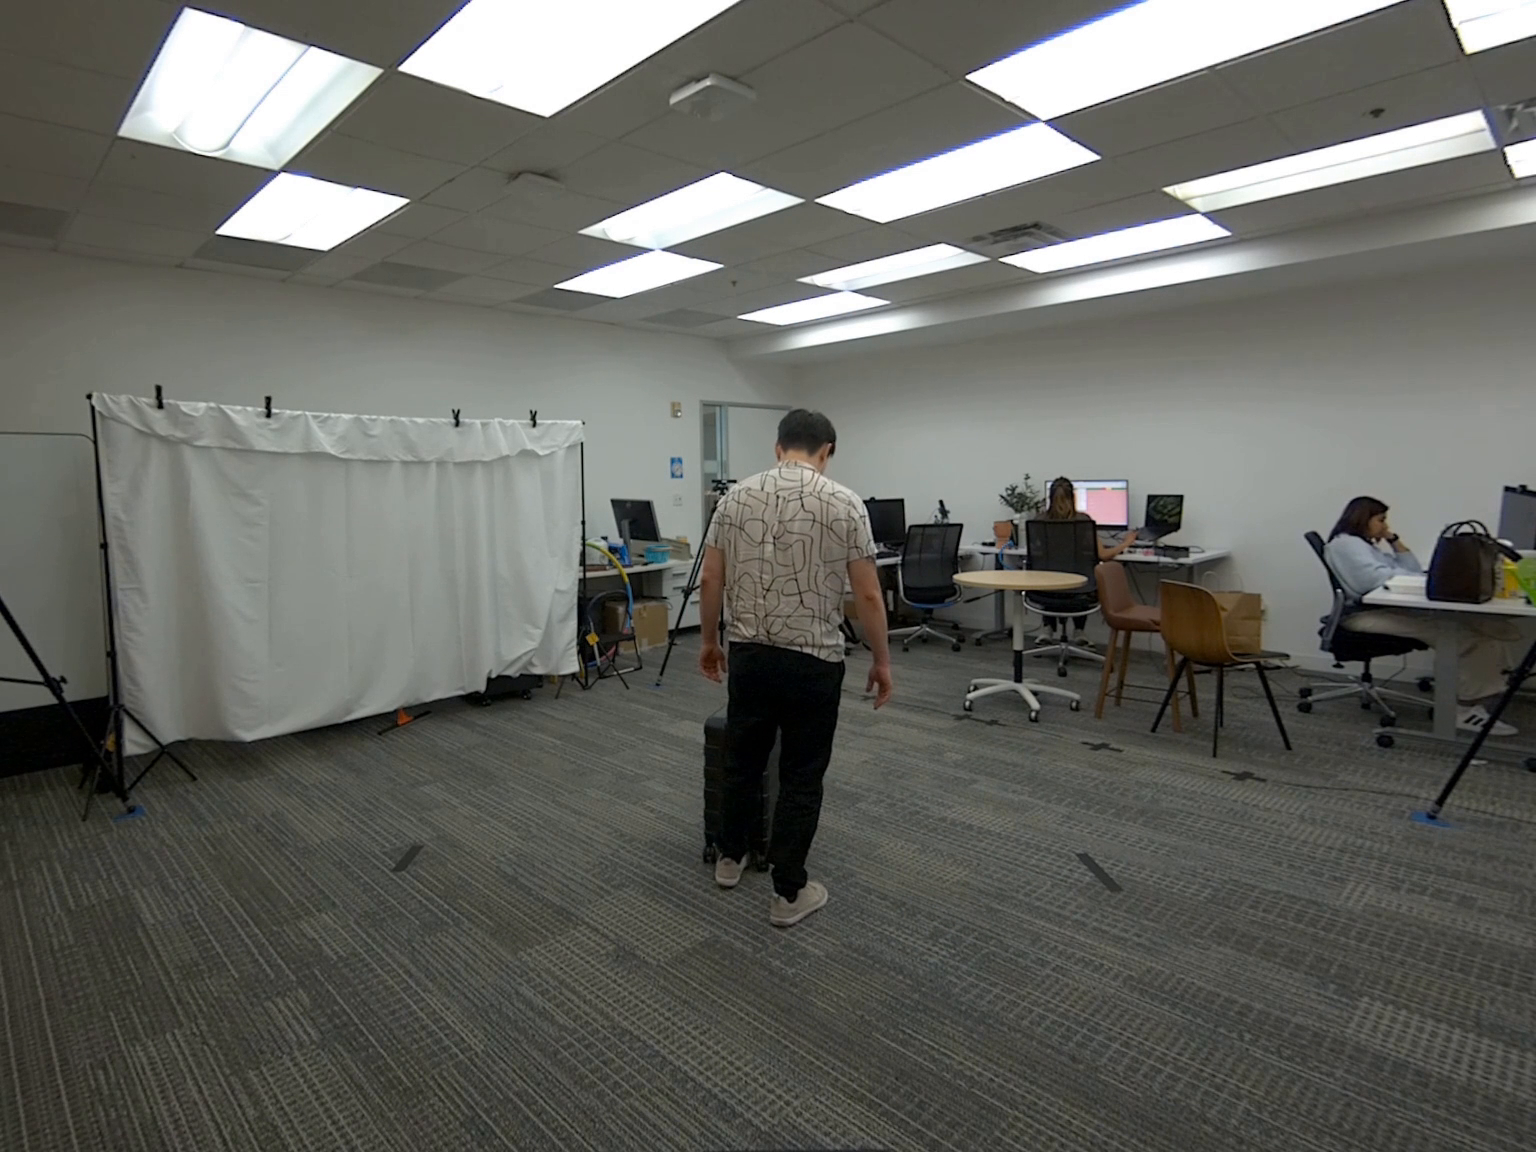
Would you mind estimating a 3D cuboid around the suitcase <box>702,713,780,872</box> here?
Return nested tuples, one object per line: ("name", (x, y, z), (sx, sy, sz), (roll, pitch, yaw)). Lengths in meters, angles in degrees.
("suitcase", (-0.084, 0.756, 3.240), (0.252, 0.548, 0.370), (1, 3, 16))
